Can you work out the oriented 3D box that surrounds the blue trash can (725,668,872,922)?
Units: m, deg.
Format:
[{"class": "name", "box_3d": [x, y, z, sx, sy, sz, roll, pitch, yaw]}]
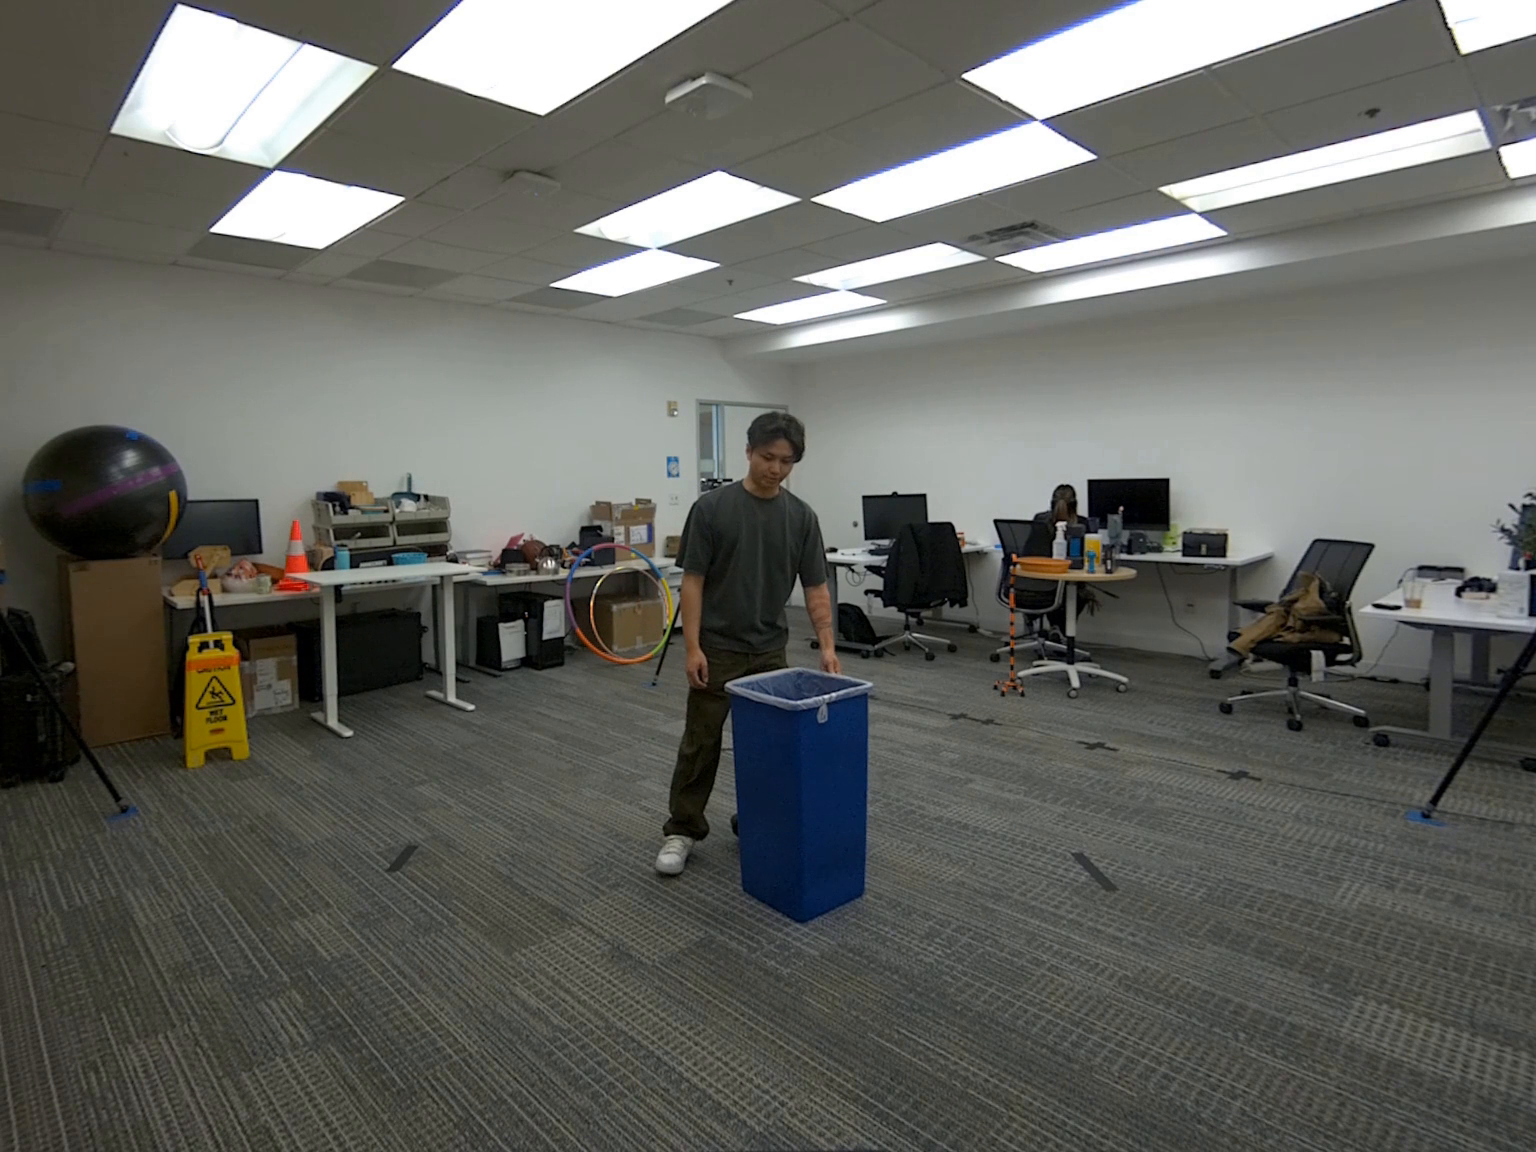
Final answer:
[{"class": "blue trash can", "box_3d": [0.115, 0.710, 2.867, 0.364, 0.711, 0.389, -5, 6, -40]}]
